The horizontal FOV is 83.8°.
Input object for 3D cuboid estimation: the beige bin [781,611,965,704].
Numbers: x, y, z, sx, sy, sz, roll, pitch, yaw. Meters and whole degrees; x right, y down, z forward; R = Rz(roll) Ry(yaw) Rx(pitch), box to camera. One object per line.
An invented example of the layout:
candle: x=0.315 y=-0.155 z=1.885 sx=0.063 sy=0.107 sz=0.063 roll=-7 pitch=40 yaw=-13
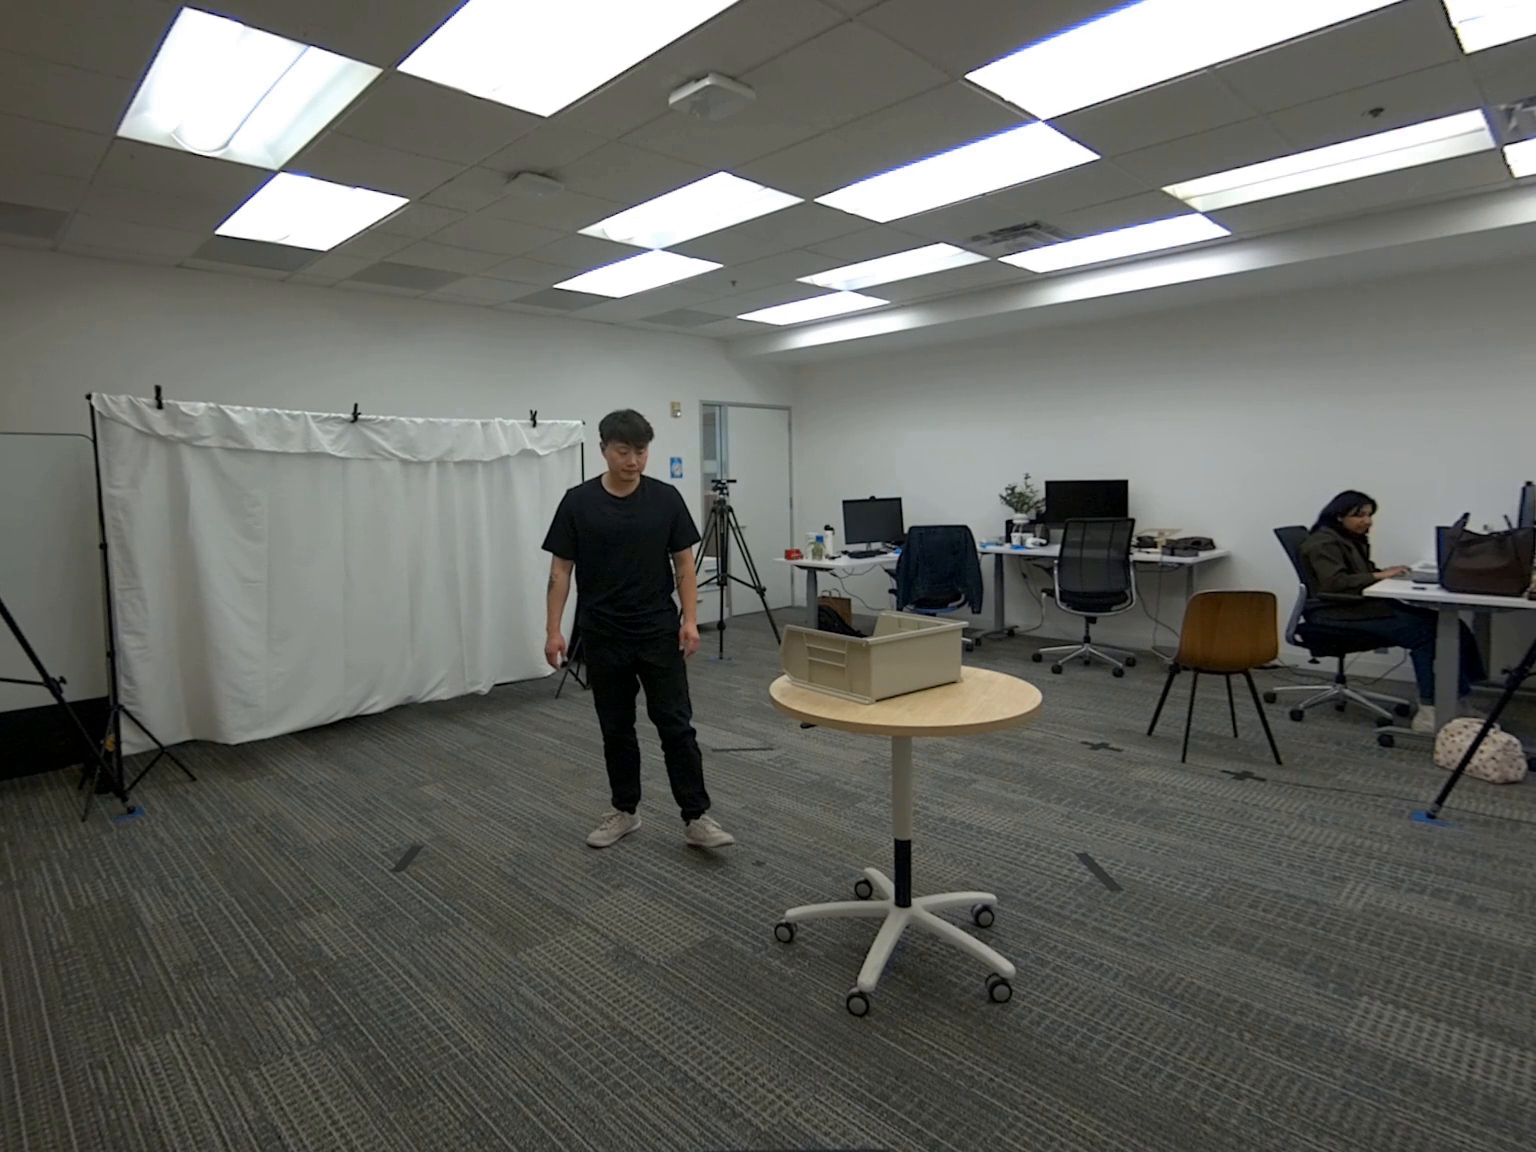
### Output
beige bin: x=0.314 y=0.233 z=2.556 sx=0.411 sy=0.188 sz=0.389 roll=-5 pitch=7 yaw=-38
